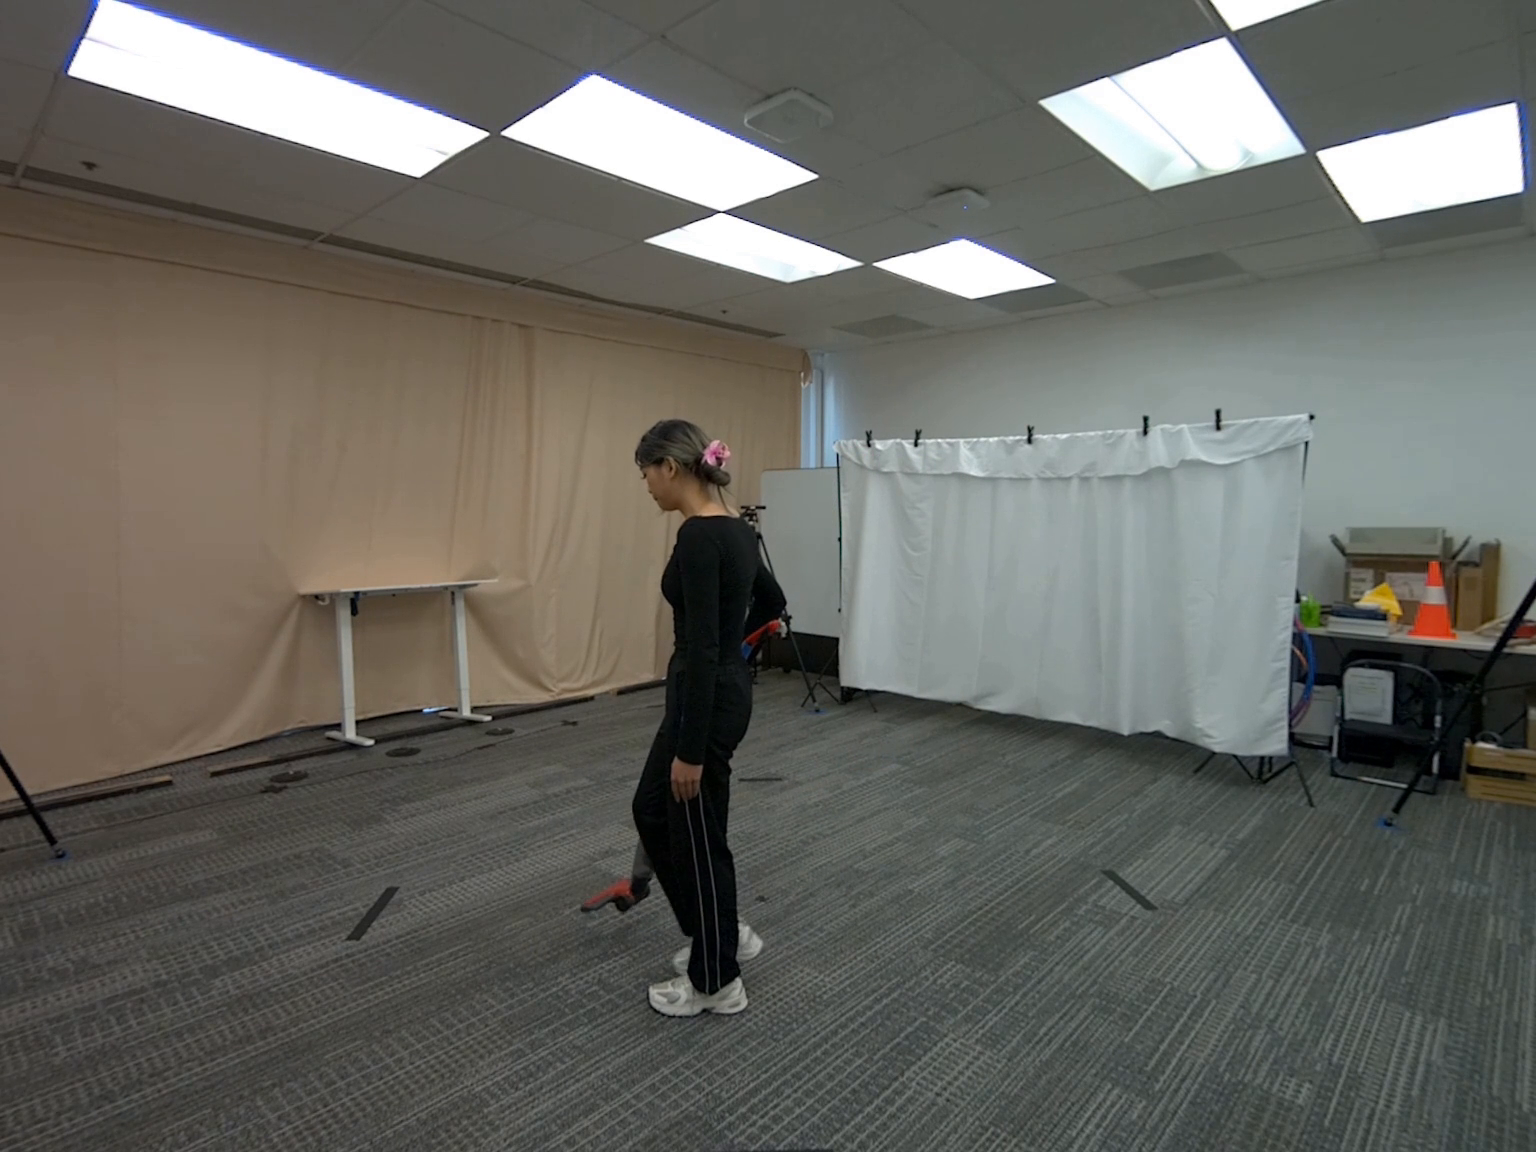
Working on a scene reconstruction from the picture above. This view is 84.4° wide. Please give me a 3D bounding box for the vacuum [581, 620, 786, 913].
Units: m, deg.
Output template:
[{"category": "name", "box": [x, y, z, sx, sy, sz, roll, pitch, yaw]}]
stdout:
[{"category": "vacuum", "box": [-0.250, 0.593, 2.592, 0.148, 1.048, 0.245, 33, 14, 26]}]
